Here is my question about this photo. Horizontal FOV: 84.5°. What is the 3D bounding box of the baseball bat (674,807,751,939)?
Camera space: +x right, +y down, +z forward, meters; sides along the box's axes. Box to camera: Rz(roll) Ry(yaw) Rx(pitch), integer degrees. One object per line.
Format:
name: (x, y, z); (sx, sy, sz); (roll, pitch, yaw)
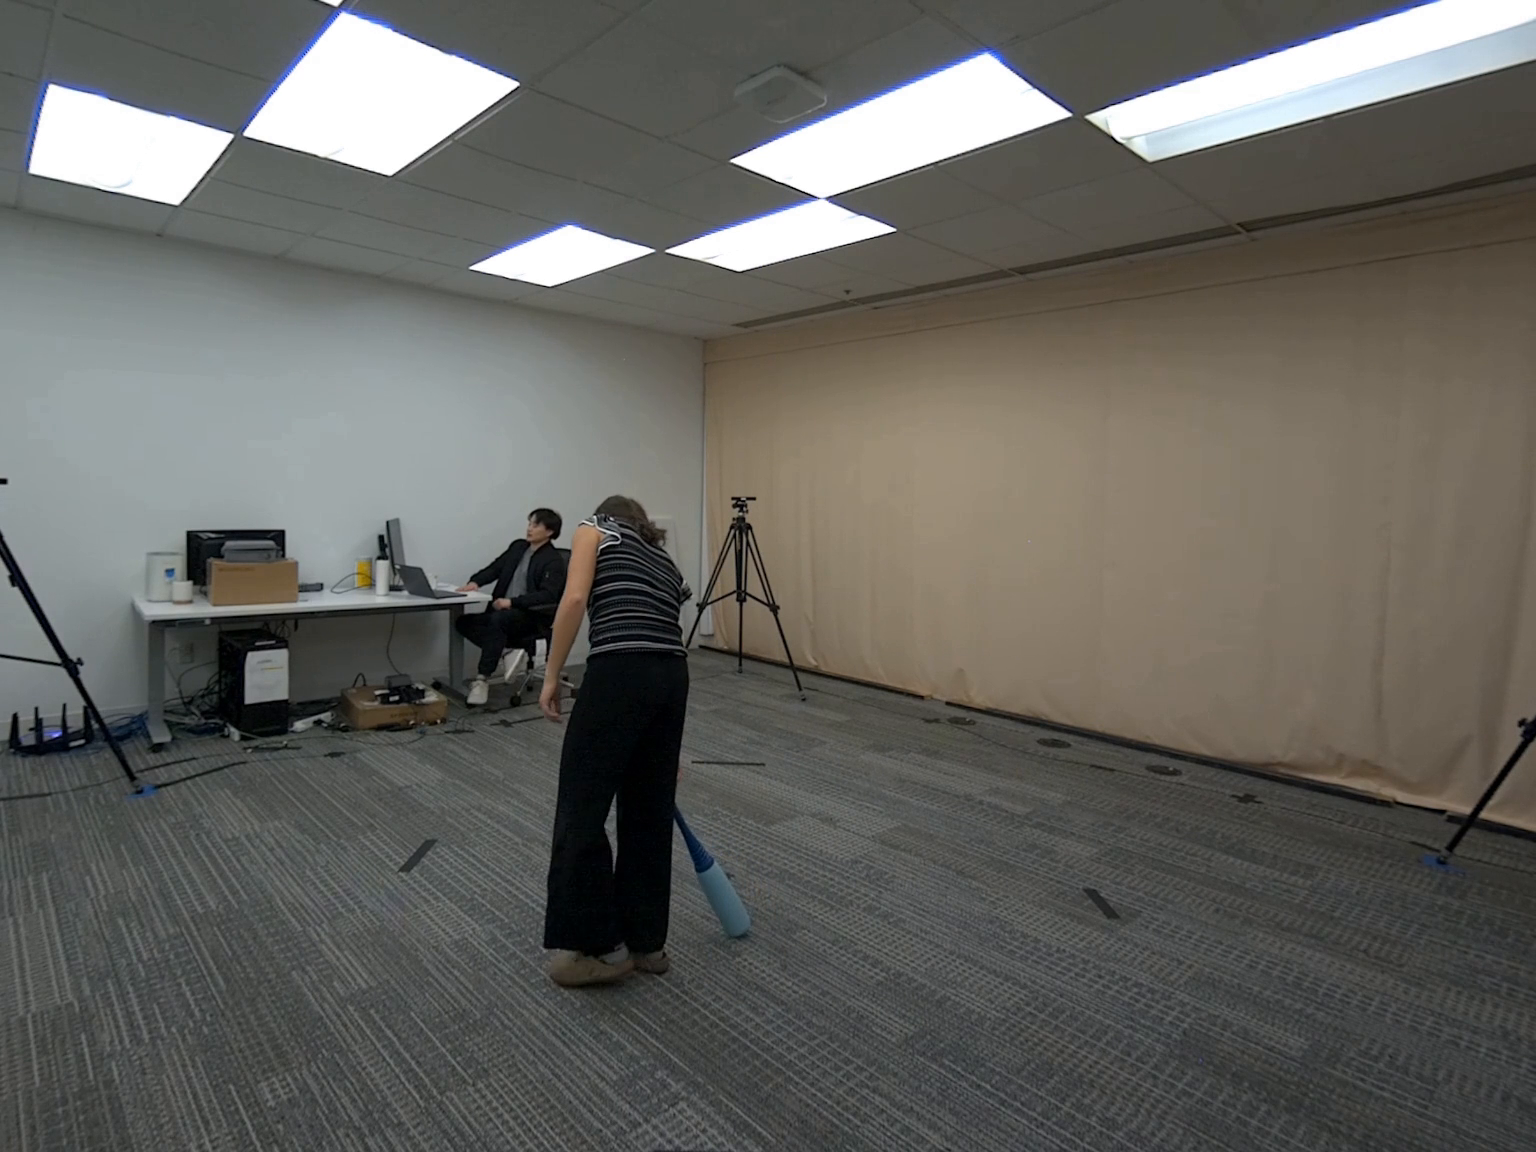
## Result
baseball bat: (-0.217, 0.904, 2.640); (0.089, 0.537, 0.090); (-26, 10, 4)
